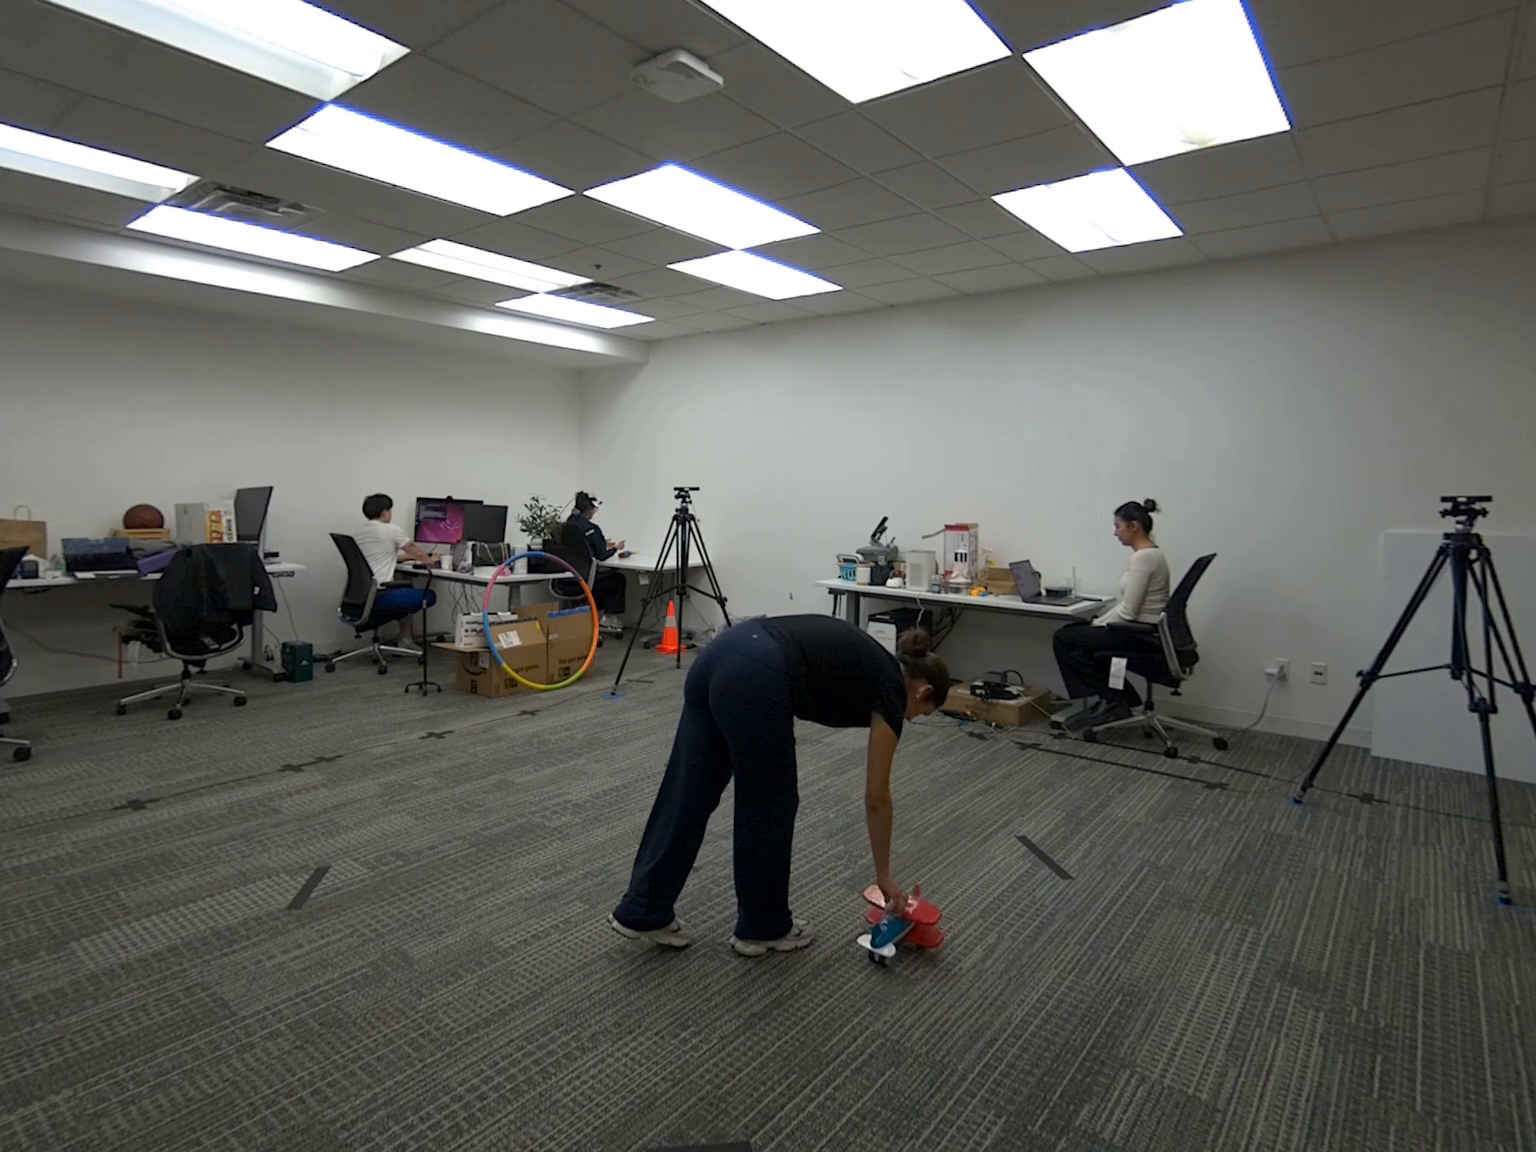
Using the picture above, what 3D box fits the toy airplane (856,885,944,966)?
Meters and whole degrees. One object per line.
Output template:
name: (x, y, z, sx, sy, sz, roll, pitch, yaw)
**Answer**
toy airplane: (0.412, 1.062, 2.565, 0.255, 0.156, 0.255, 2, 3, 15)
